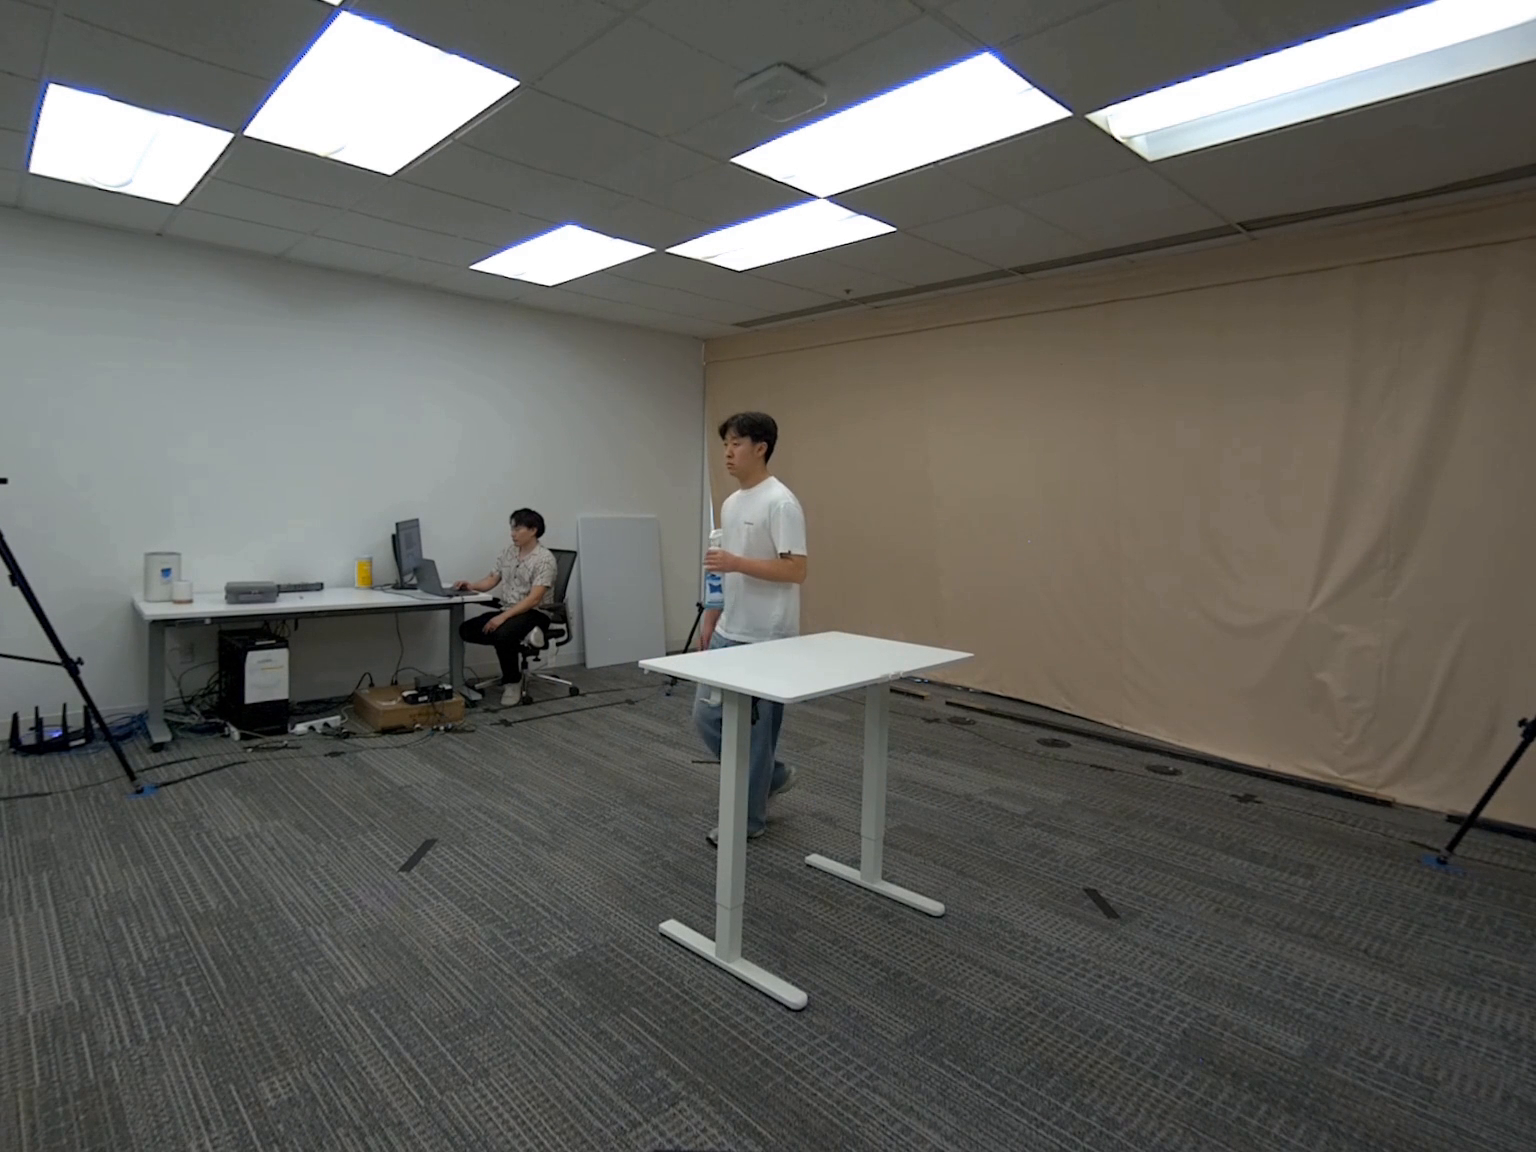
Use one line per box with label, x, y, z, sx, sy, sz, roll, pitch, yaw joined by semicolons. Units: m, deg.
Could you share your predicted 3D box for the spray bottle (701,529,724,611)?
spray bottle;-0.199;-0.025;3.201;0.088;0.296;0.089;2;6;-42
